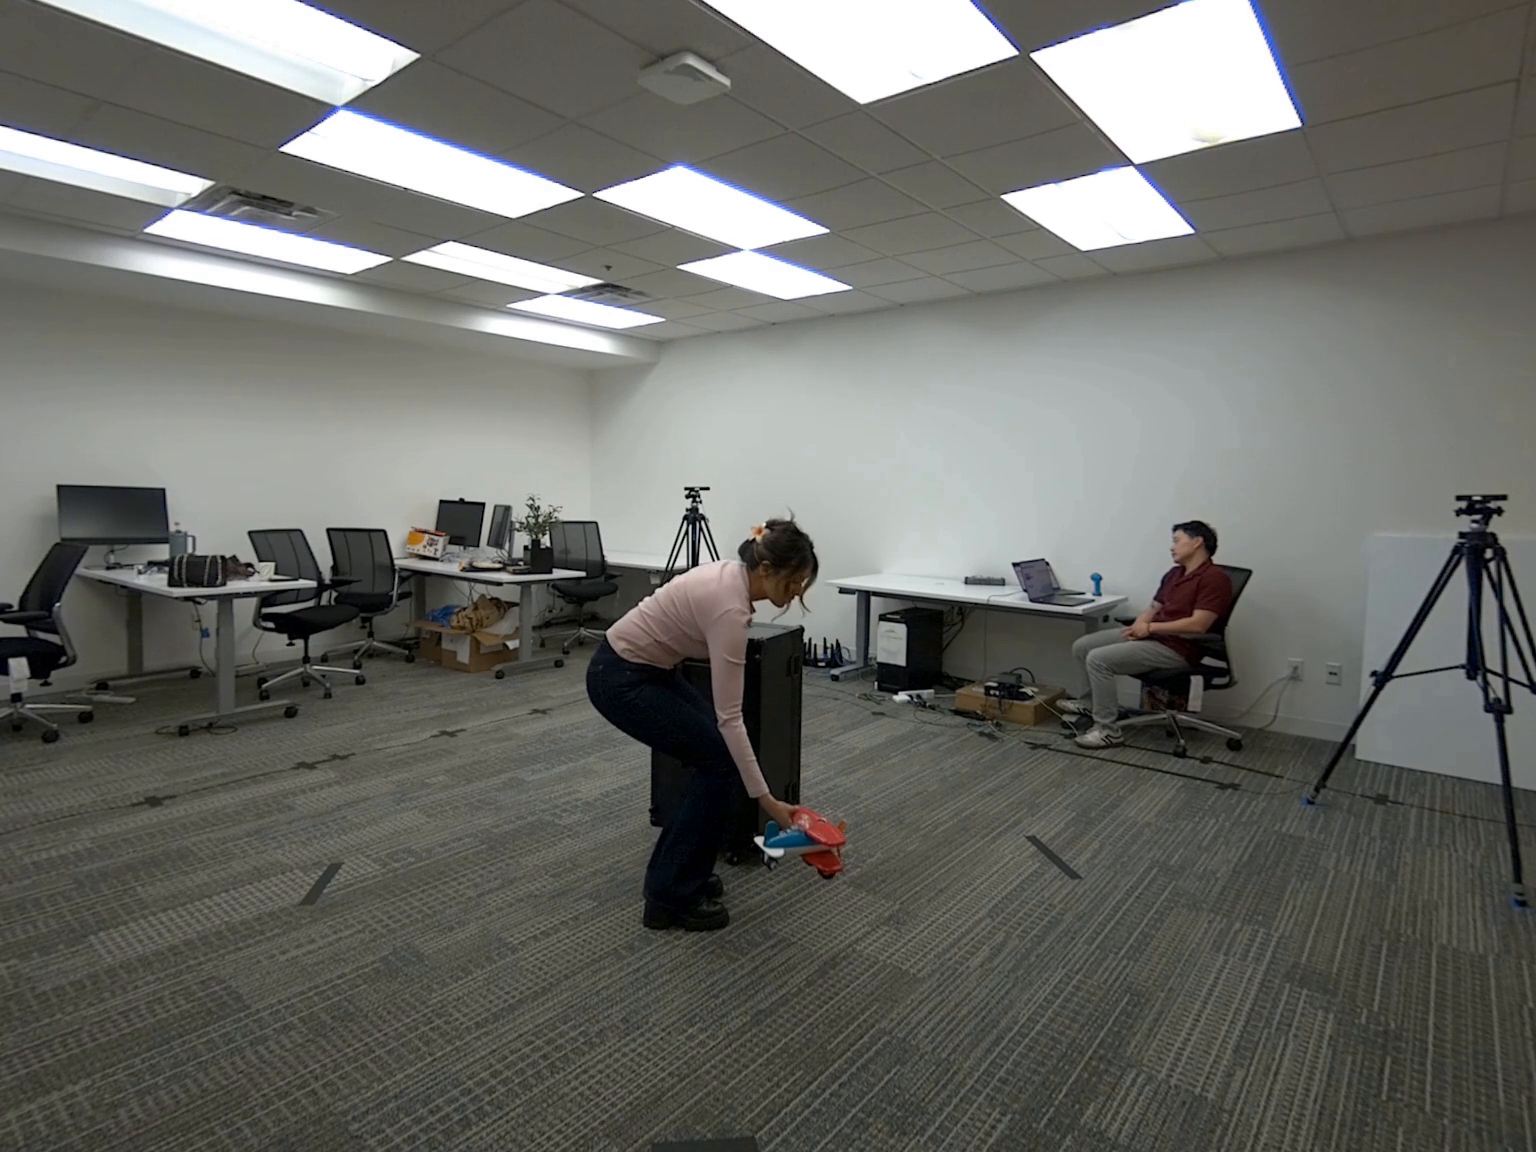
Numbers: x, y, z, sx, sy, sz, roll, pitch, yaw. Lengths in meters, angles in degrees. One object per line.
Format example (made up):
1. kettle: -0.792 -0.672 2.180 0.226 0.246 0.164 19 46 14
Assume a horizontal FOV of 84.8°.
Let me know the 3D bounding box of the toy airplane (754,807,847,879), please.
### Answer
1. toy airplane: 0.100 0.775 2.456 0.260 0.156 0.250 16 0 33
